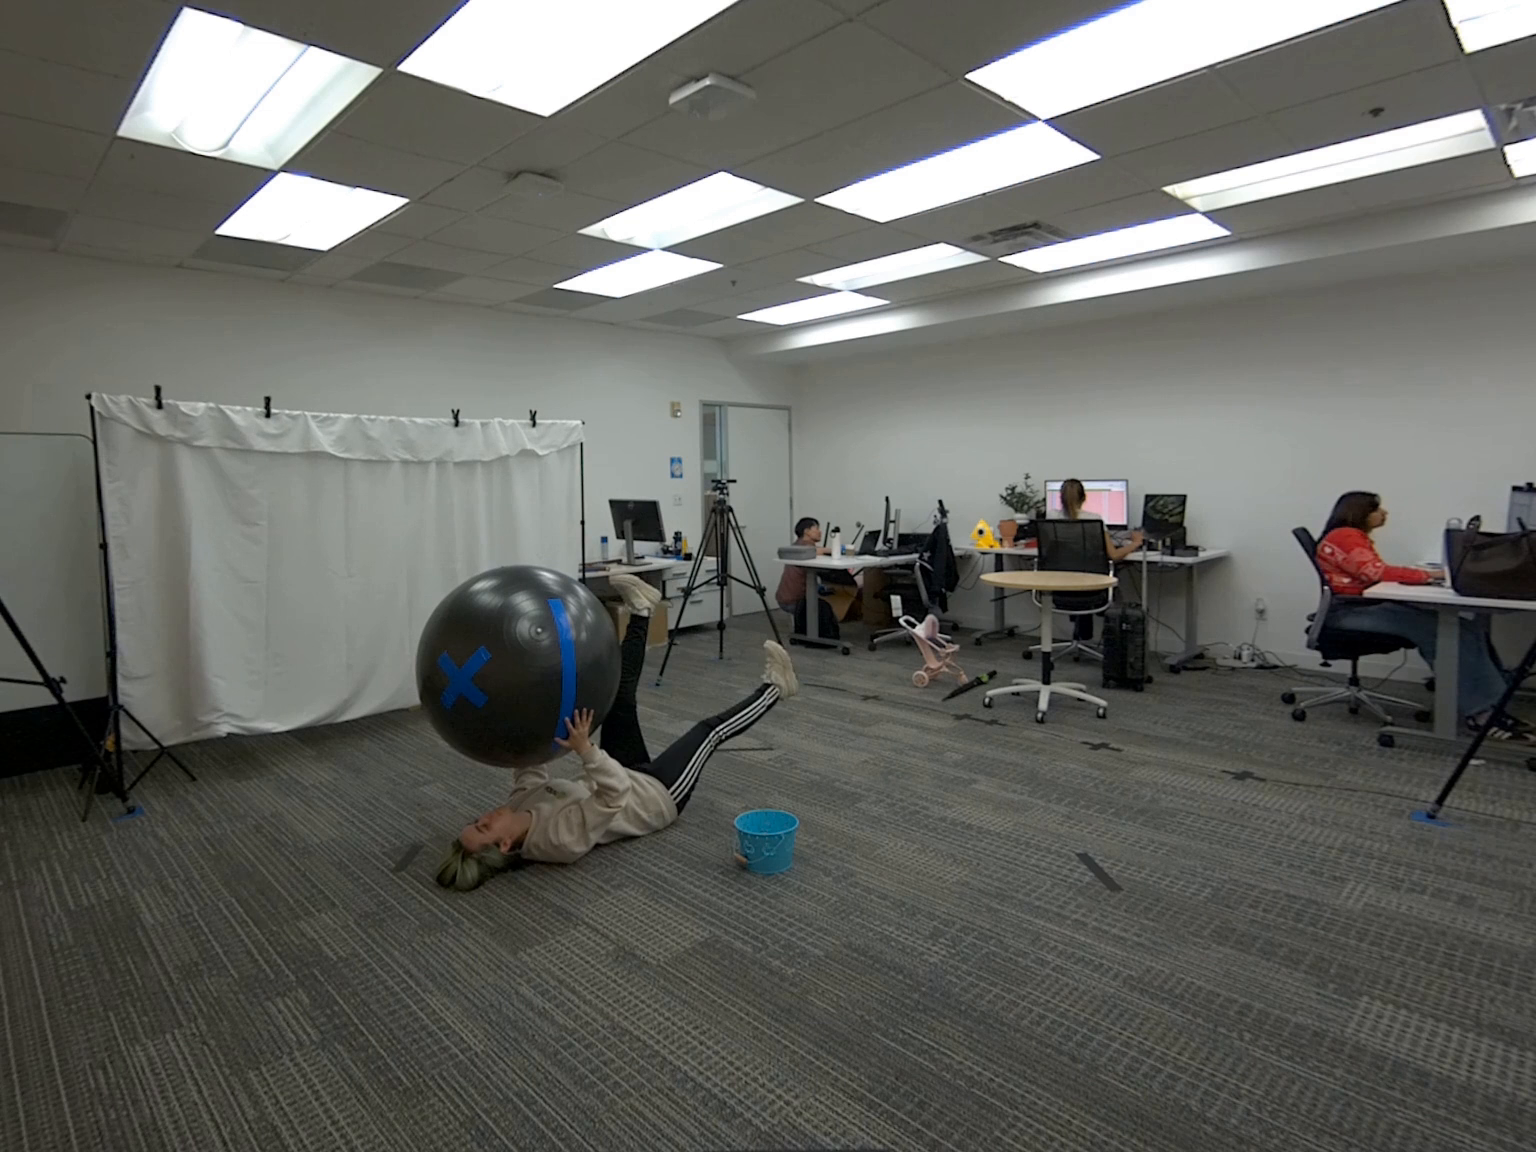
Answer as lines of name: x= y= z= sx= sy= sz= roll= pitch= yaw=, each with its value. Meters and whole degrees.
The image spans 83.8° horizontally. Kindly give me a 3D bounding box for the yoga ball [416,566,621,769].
yoga ball: x=-0.946 y=0.341 z=3.239 sx=0.757 sy=0.755 sz=0.762 roll=-1 pitch=5 yaw=-2
